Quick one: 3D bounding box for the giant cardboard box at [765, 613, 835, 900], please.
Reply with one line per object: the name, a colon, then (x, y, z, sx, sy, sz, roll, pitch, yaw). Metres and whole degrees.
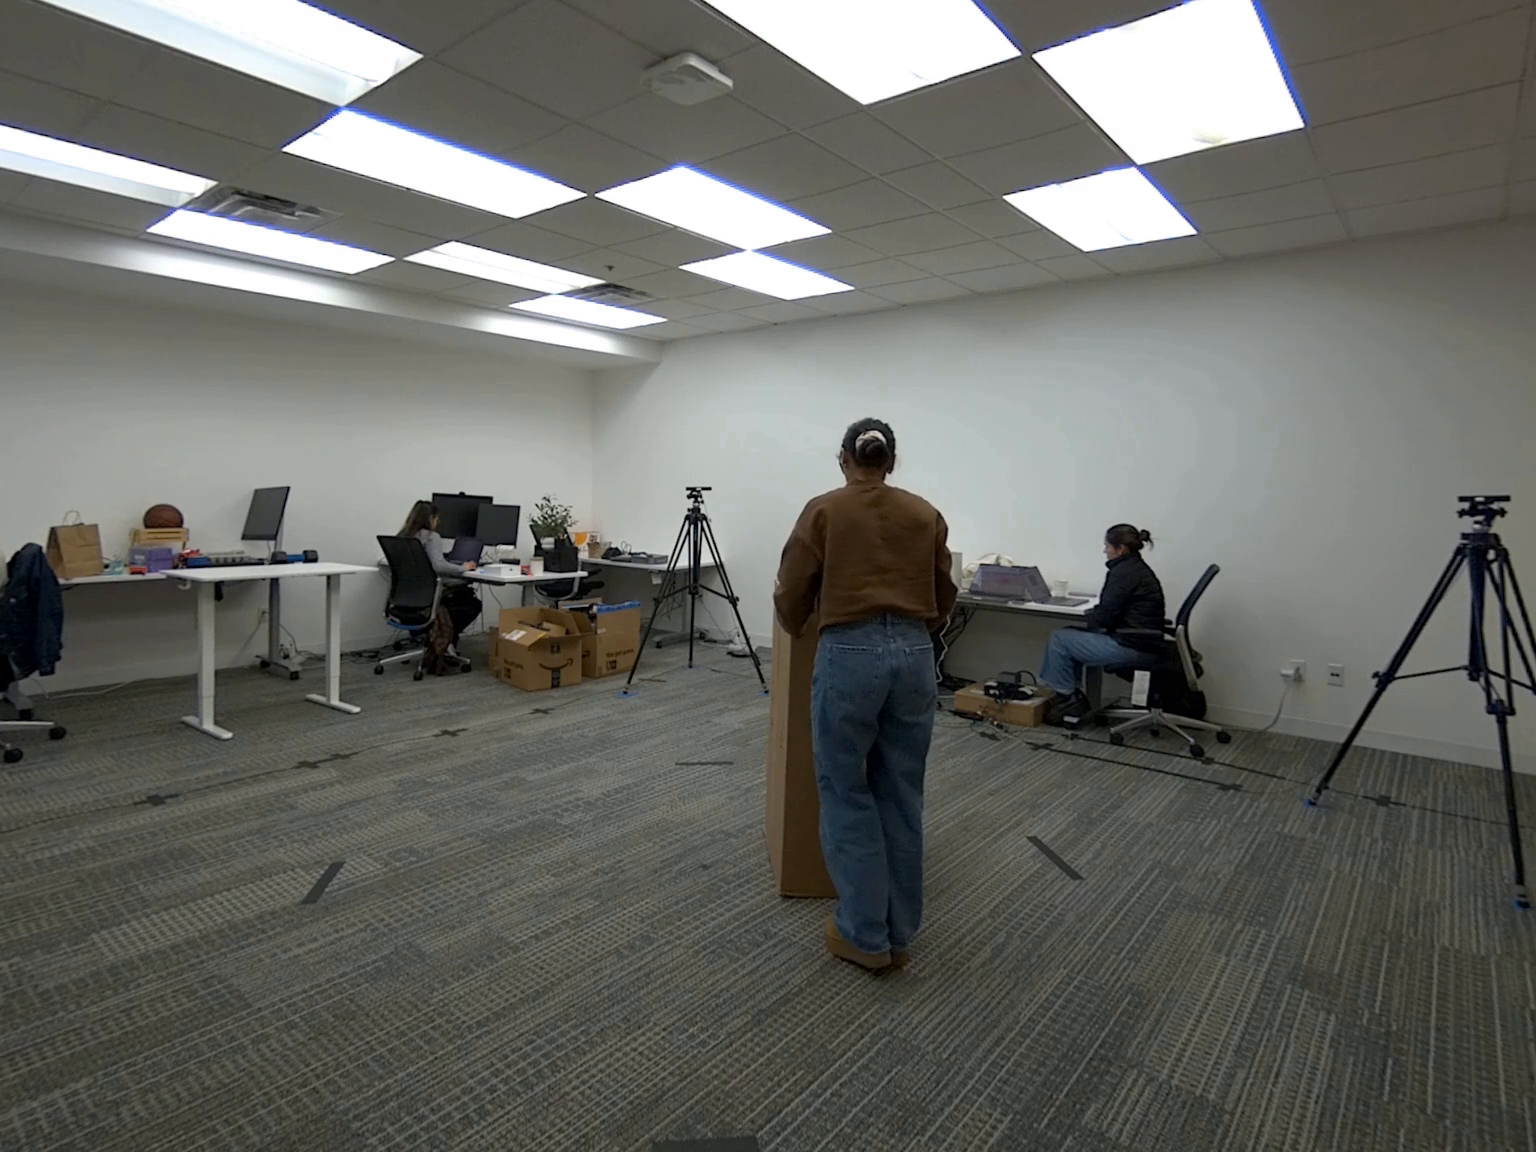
giant cardboard box: (0.241, 0.566, 3.157, 0.445, 1.024, 0.588, 2, 3, -5)
